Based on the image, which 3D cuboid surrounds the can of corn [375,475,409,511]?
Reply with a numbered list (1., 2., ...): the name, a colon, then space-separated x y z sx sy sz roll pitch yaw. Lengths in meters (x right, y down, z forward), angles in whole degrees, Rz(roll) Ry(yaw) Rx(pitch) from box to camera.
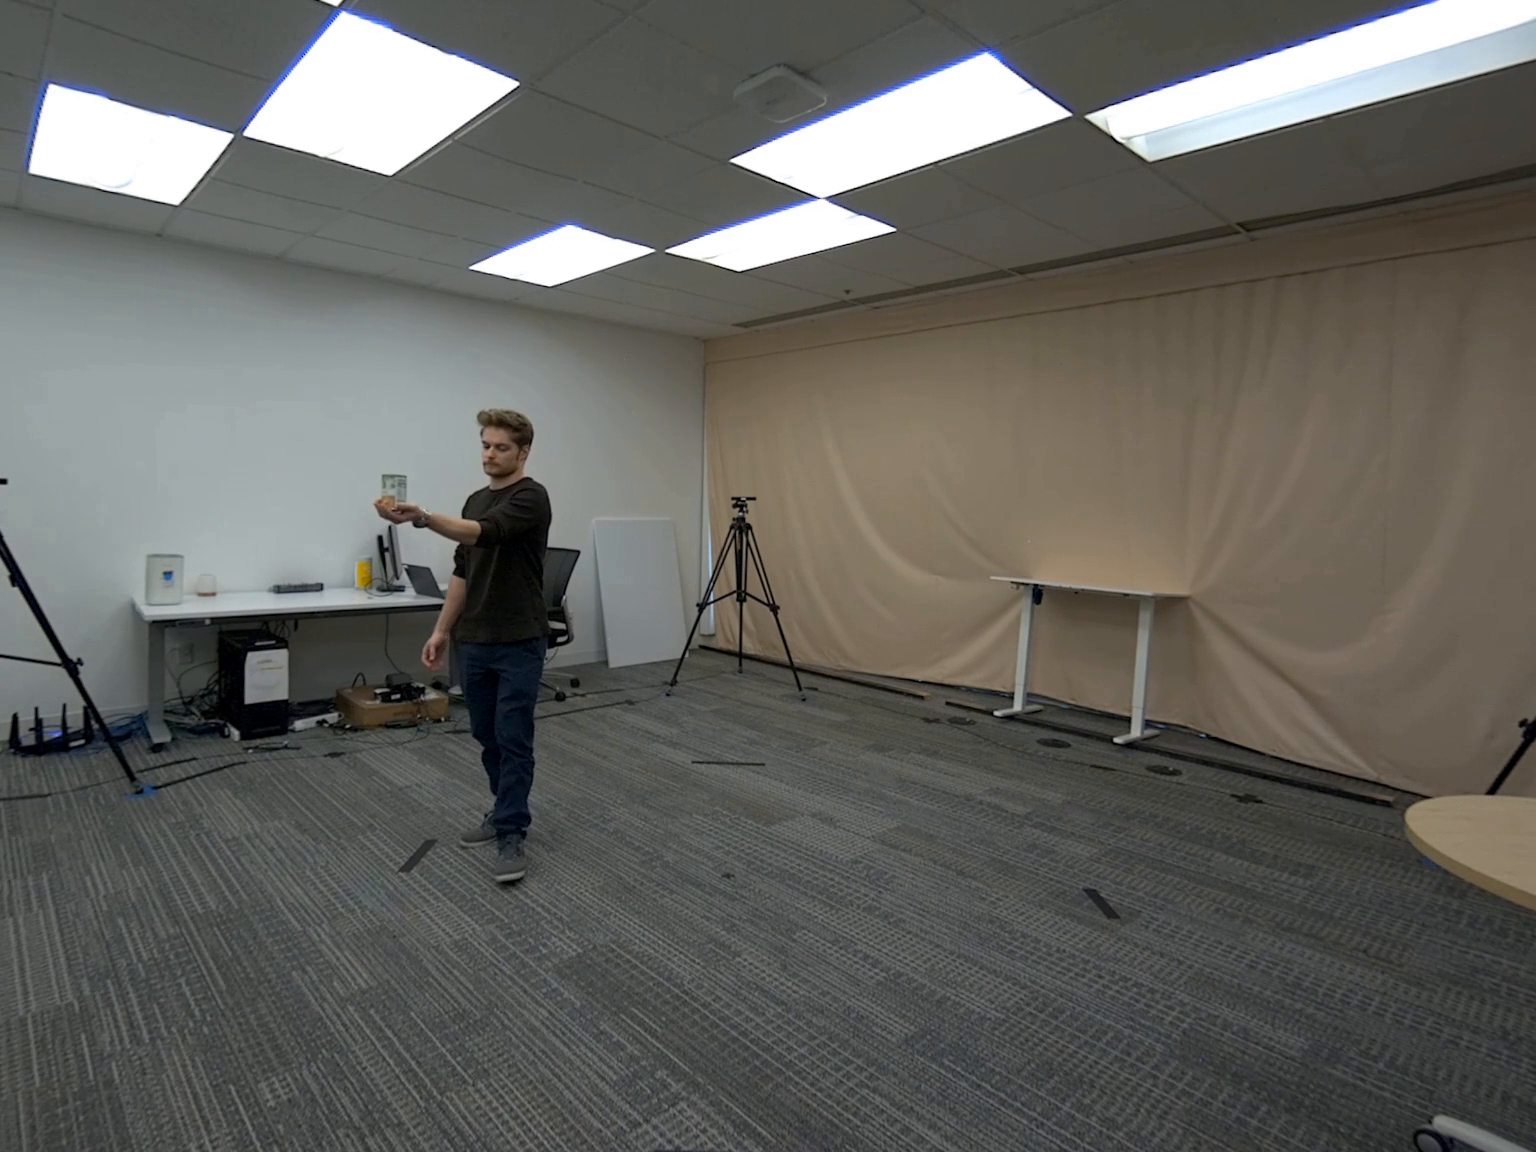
1. can of corn: -1.192 -0.261 2.680 0.074 0.111 0.074 -1 -1 -1
